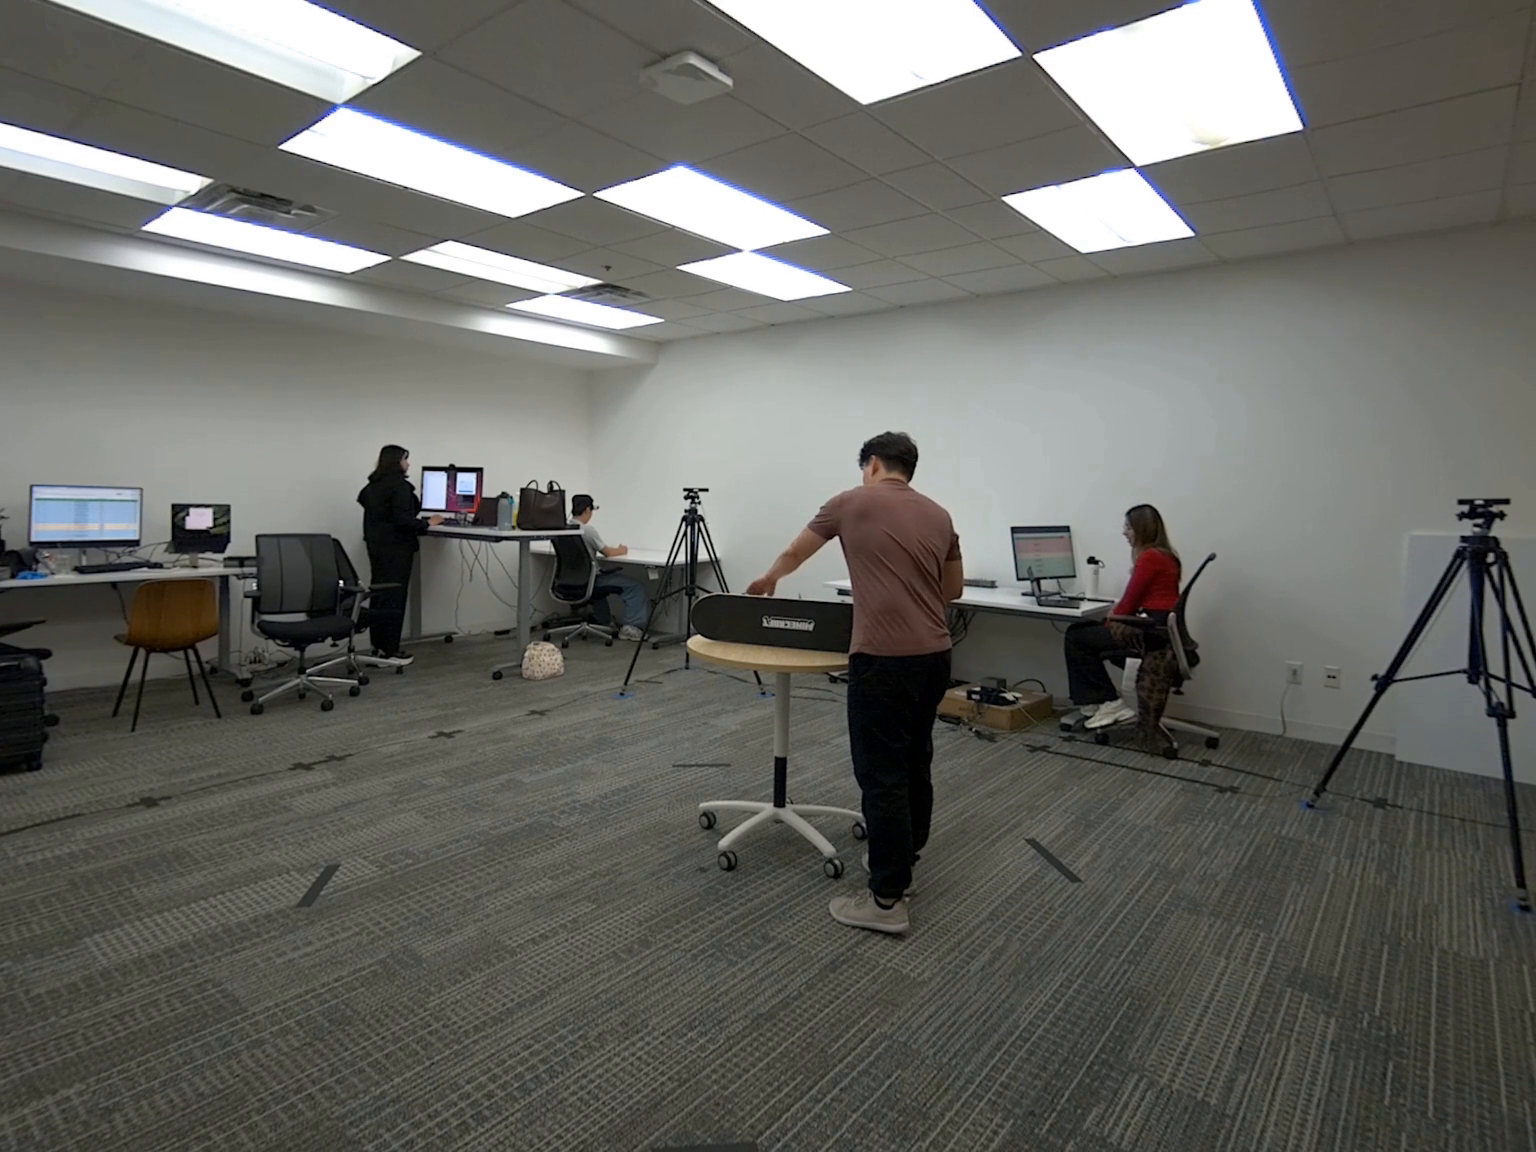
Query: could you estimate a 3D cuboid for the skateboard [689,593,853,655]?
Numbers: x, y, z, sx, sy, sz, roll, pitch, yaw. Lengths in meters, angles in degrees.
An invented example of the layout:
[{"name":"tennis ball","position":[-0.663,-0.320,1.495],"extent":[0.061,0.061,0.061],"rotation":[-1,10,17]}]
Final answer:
[{"name":"skateboard","position":[0.068,0.180,3.291],"extent":[0.802,0.193,0.108],"rotation":[4,2,19]}]
